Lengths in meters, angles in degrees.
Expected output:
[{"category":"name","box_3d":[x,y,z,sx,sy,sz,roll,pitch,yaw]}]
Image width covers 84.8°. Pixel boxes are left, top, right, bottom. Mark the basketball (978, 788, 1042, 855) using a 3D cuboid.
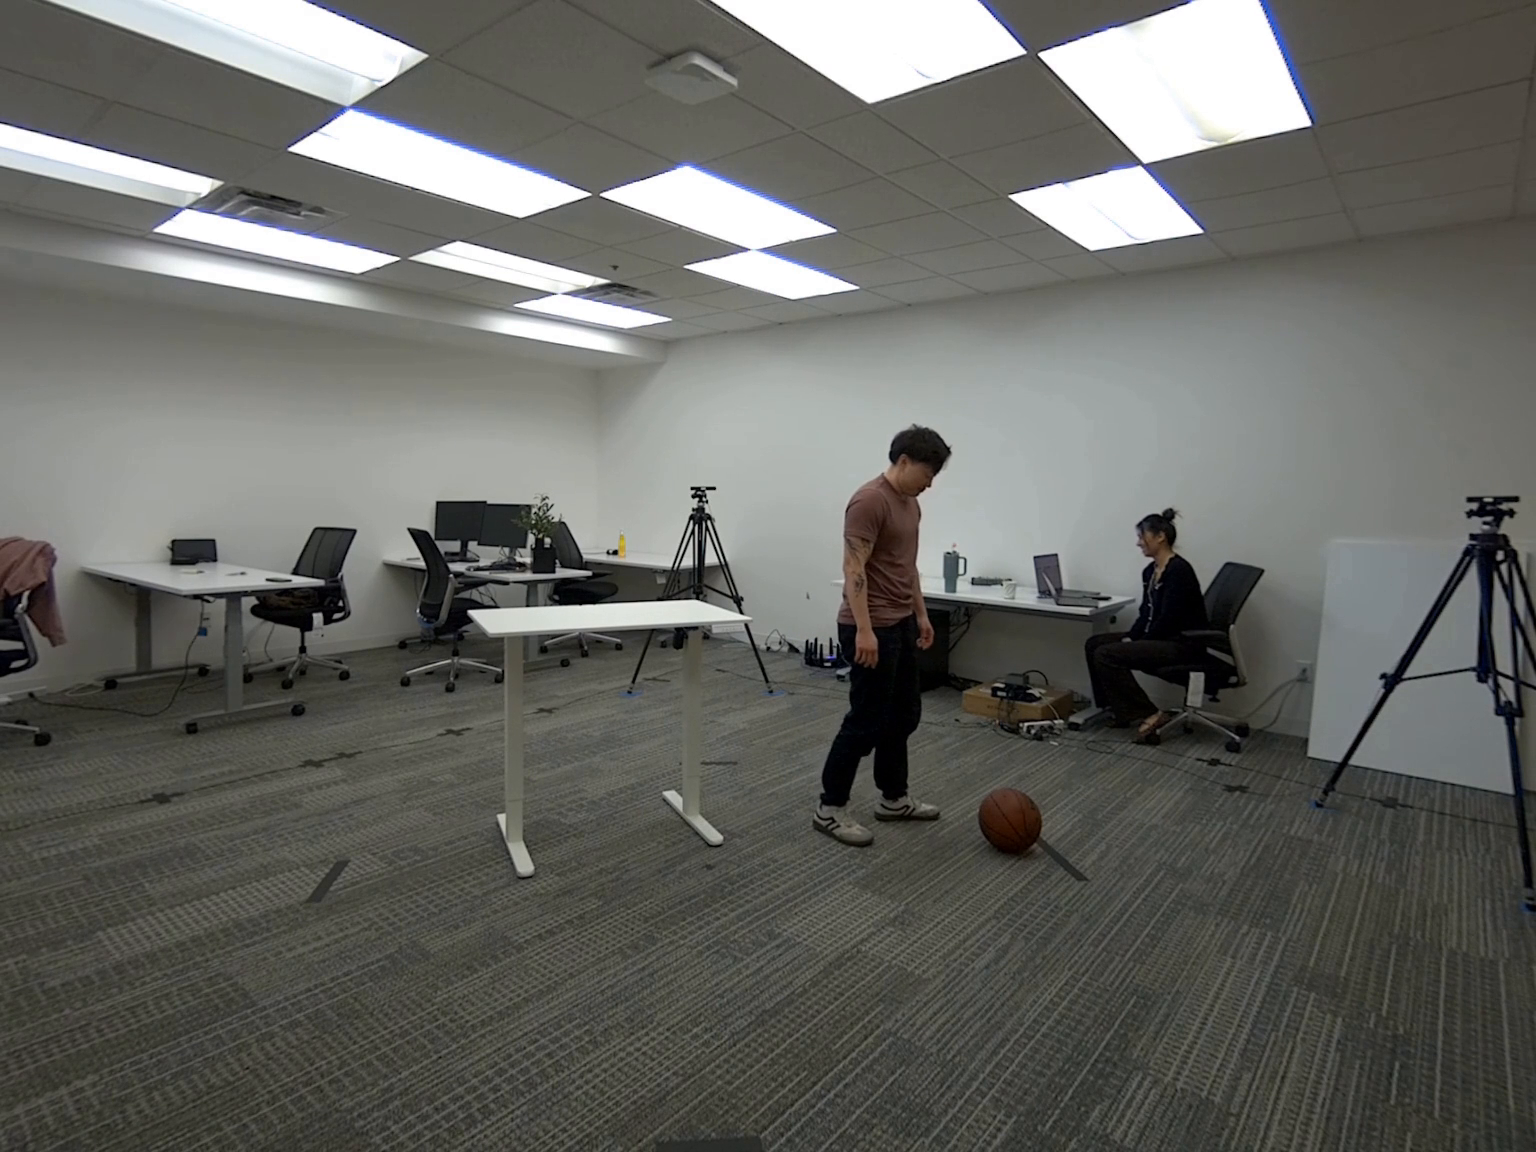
[{"category":"basketball","box_3d":[0.941,0.945,3.330,0.235,0.235,0.237,1,4,-2]}]
